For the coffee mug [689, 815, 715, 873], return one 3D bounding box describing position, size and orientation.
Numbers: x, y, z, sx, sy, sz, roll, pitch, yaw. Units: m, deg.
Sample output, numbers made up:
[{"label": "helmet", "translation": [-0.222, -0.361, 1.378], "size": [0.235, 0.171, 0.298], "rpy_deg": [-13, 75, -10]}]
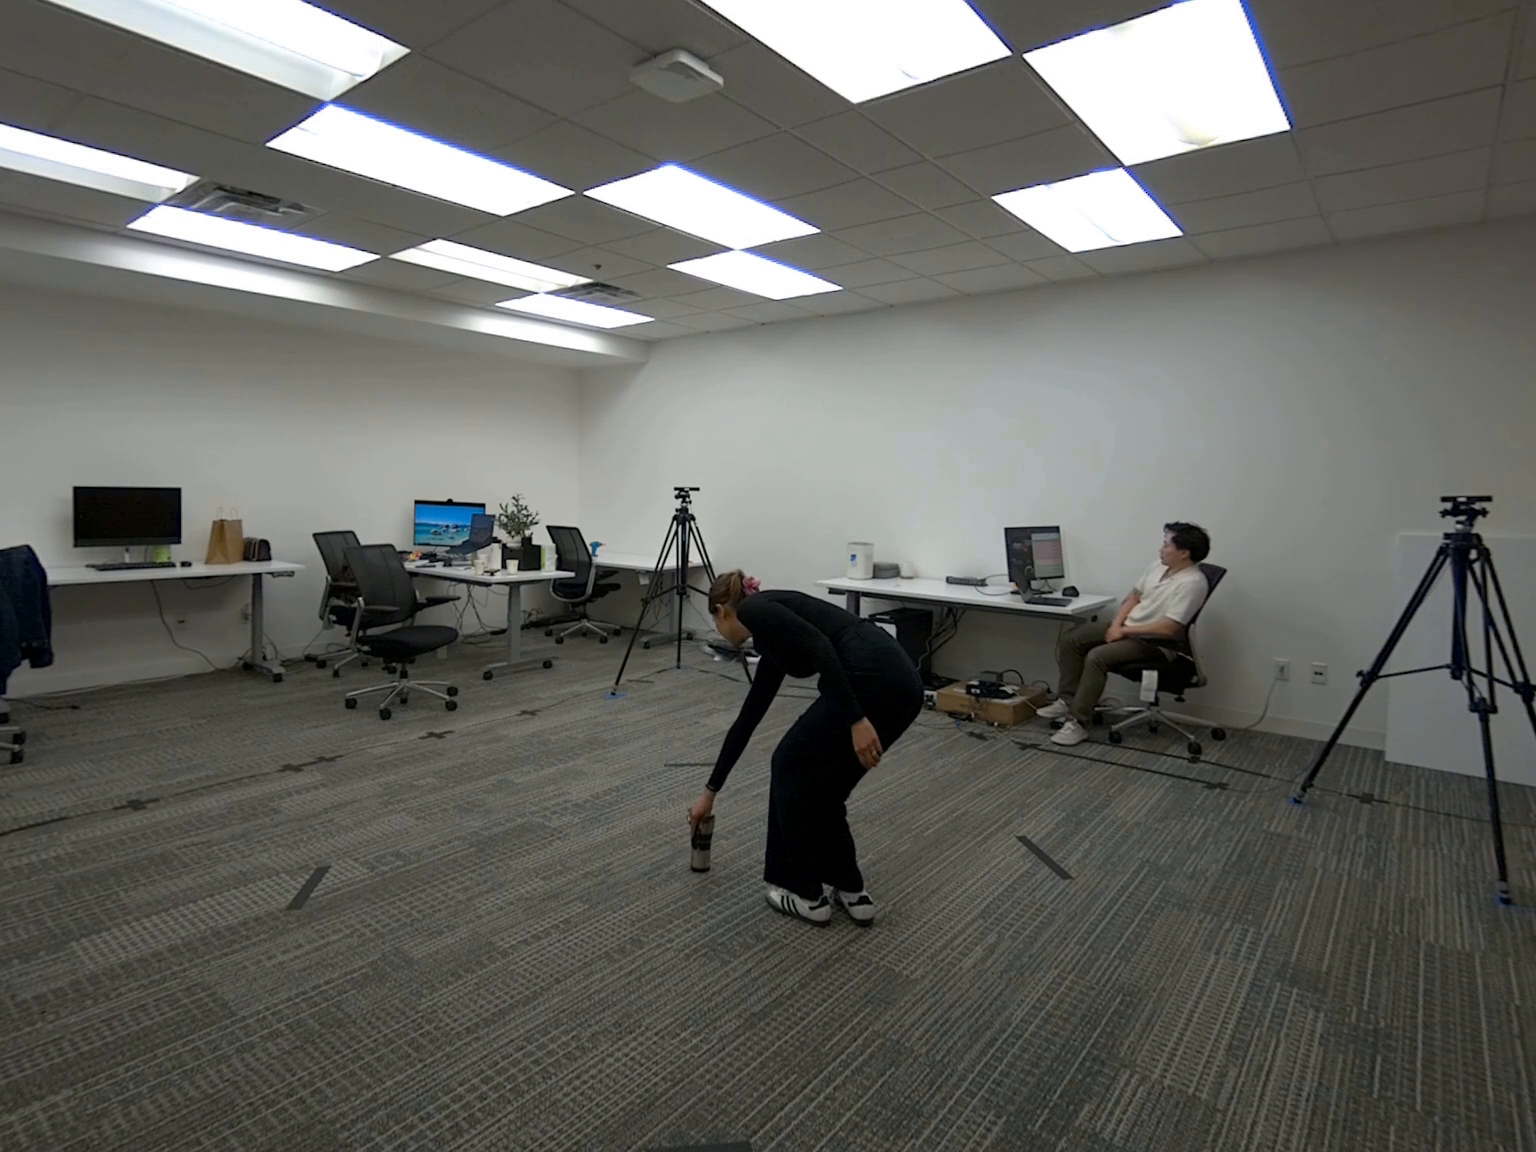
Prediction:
[{"label": "coffee mug", "translation": [-0.263, 0.961, 3.110], "size": [0.126, 0.202, 0.085], "rpy_deg": [8, 7, 38]}]
